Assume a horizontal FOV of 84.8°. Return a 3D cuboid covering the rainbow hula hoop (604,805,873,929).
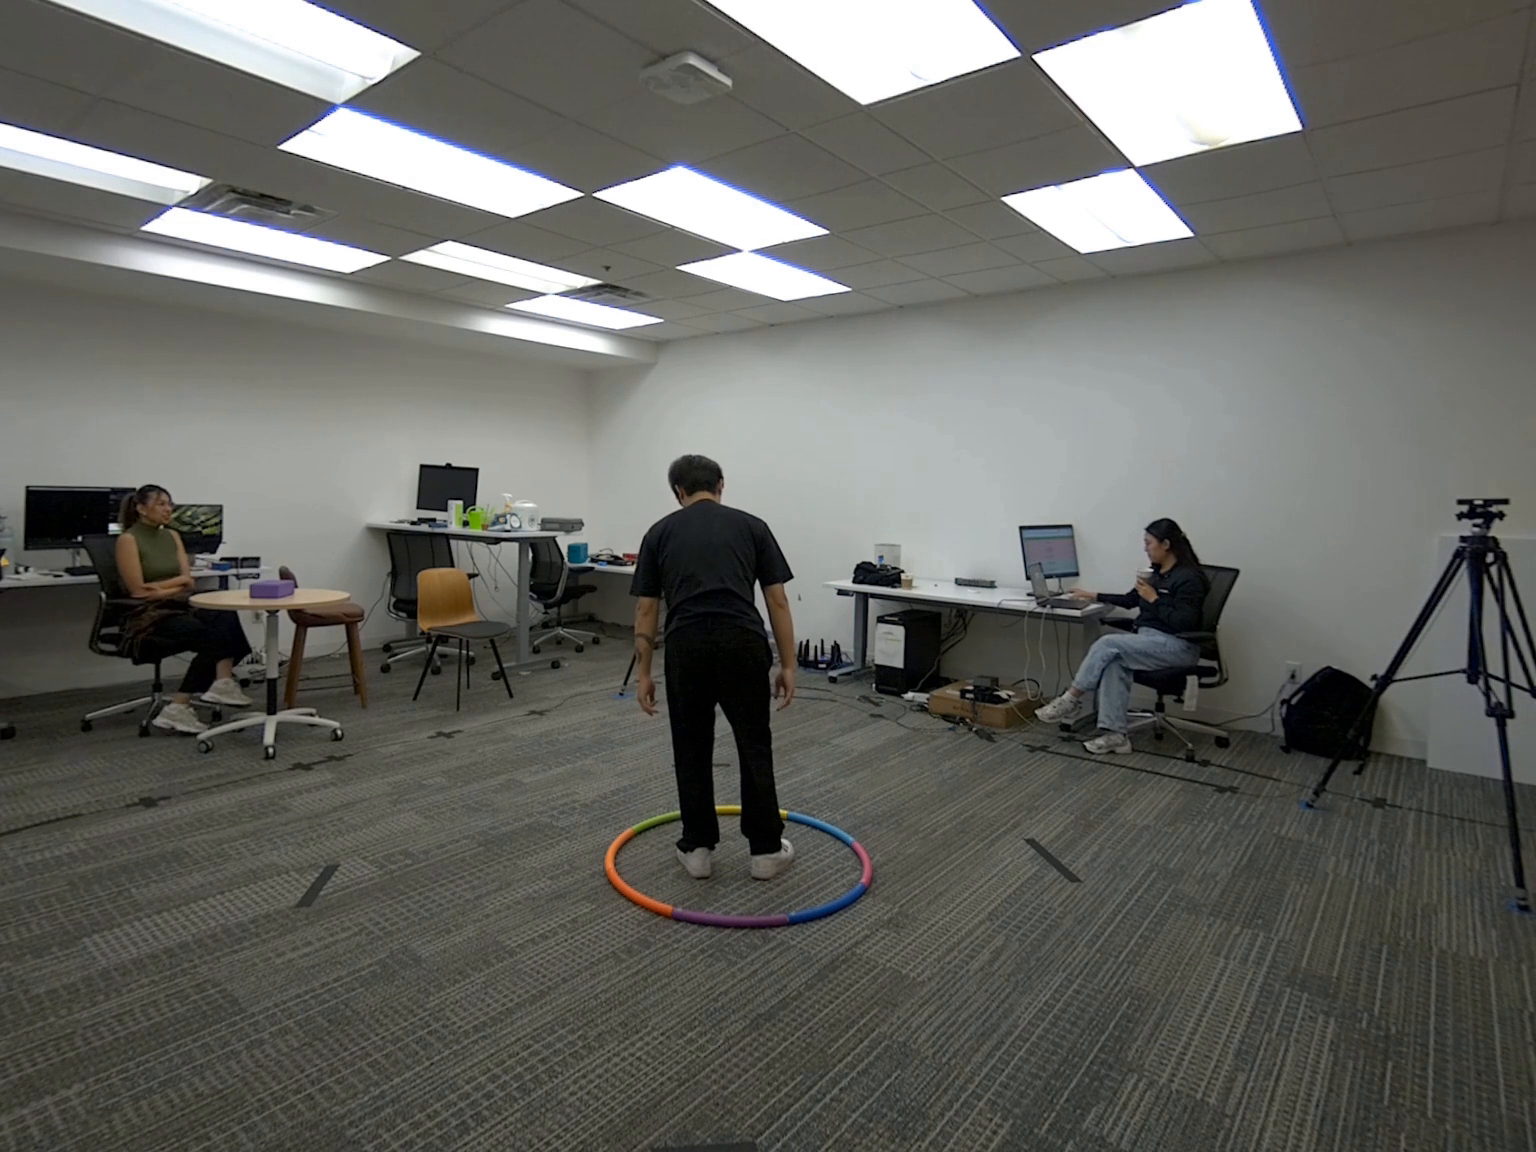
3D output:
[{"bbox_3d":[-0.123,1.036,3.169,0.978,0.035,0.984,1,6,-2],"label":"rainbow hula hoop"}]
